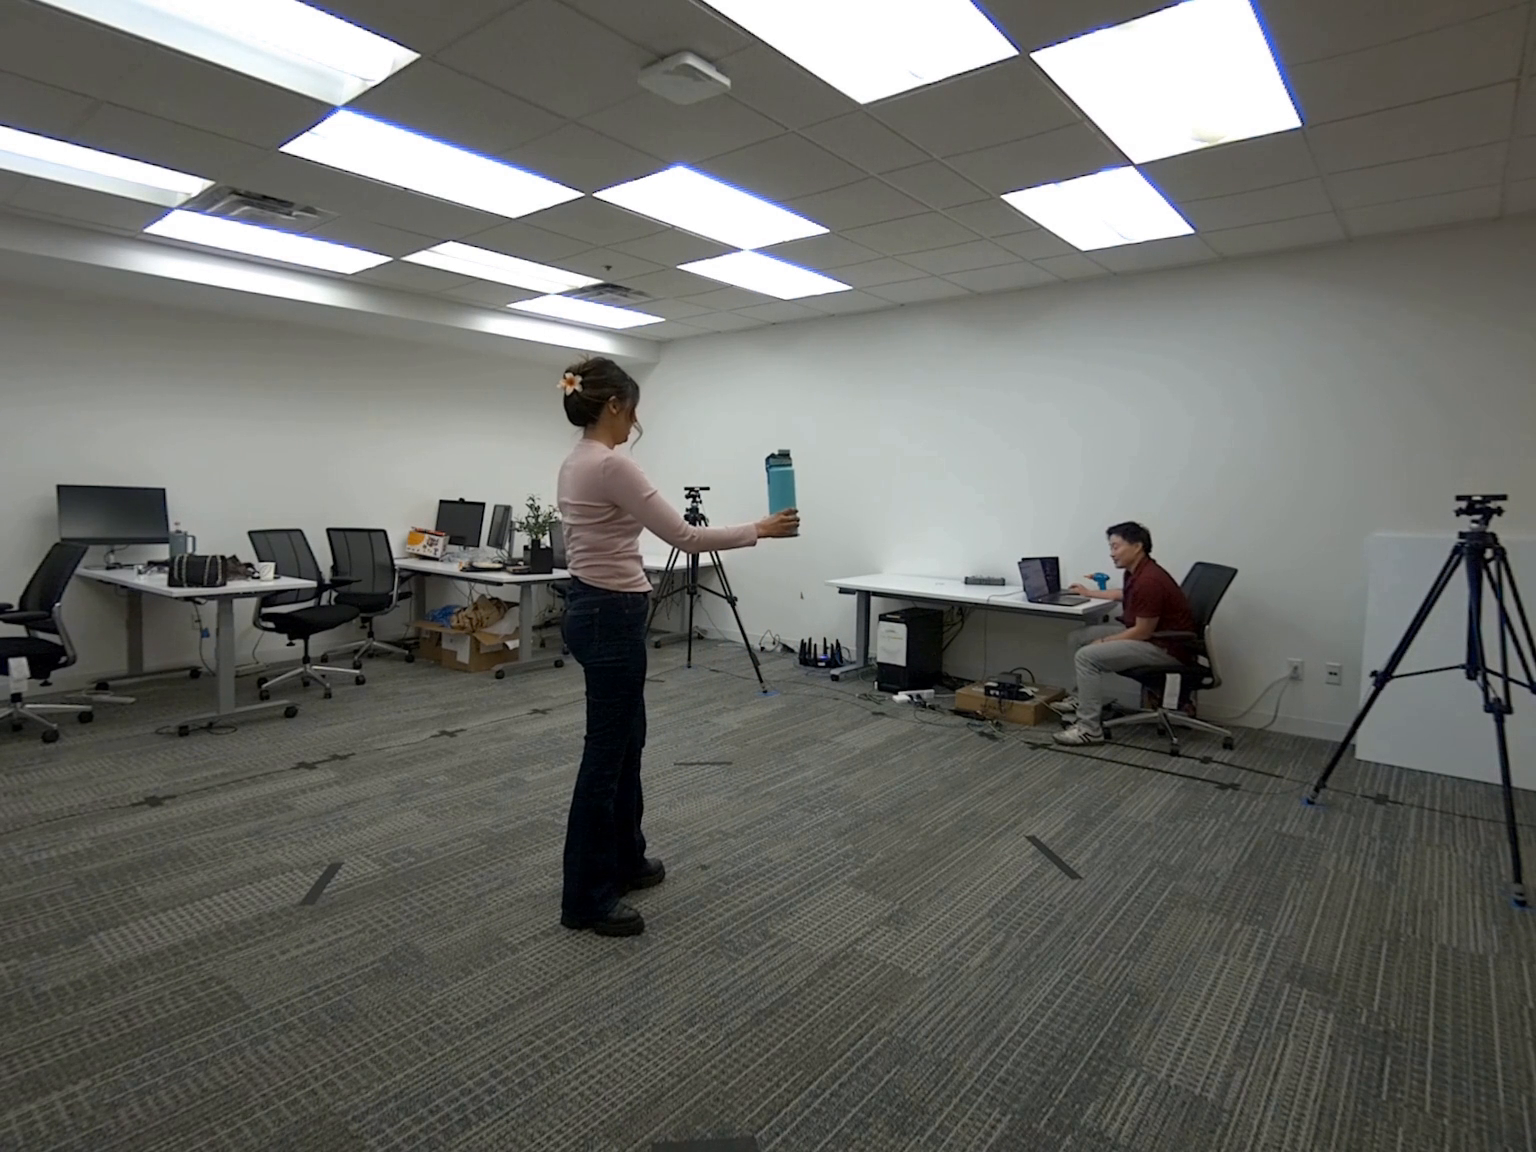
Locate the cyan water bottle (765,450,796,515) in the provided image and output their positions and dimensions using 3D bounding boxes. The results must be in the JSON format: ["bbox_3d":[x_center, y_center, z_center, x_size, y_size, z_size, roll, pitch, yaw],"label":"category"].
[{"bbox_3d":[0.033,-0.272,2.732,0.092,0.282,0.093,-3,4,-2],"label":"cyan water bottle"}]
